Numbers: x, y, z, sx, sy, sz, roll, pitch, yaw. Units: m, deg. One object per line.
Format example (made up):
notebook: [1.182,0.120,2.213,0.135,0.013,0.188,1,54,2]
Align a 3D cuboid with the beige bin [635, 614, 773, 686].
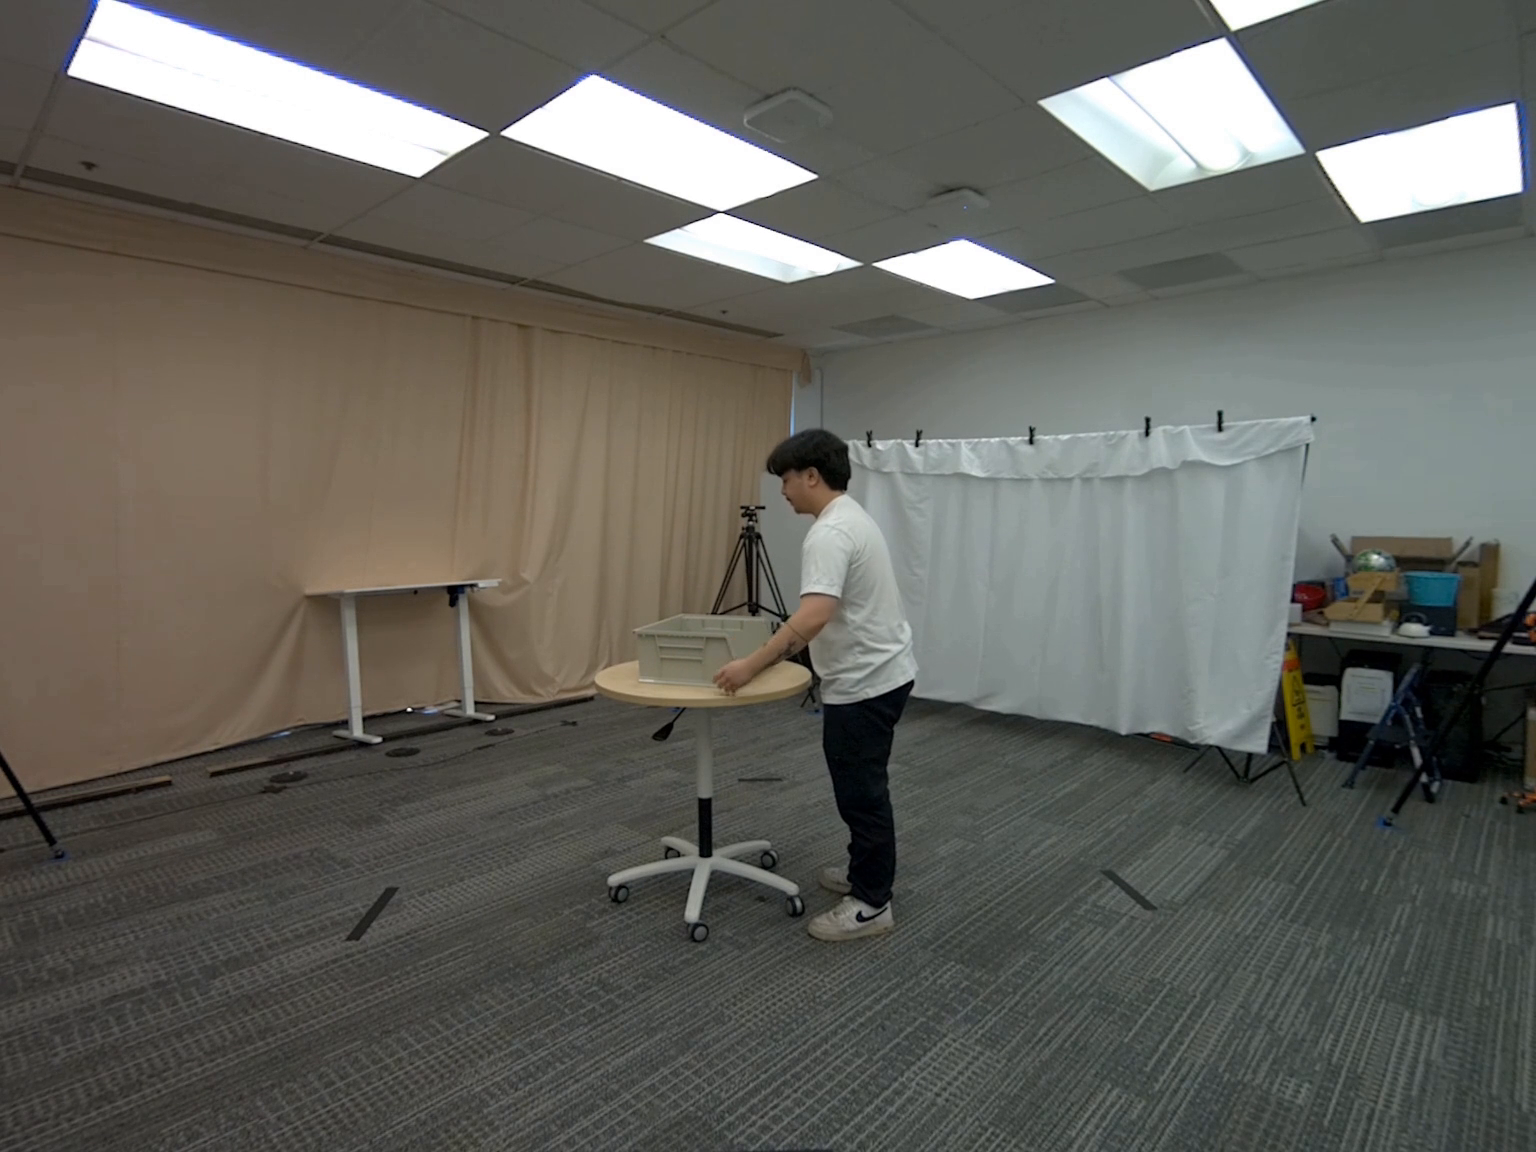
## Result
beige bin: [-0.215,0.263,2.992,0.385,0.188,0.415,0,5,20]
